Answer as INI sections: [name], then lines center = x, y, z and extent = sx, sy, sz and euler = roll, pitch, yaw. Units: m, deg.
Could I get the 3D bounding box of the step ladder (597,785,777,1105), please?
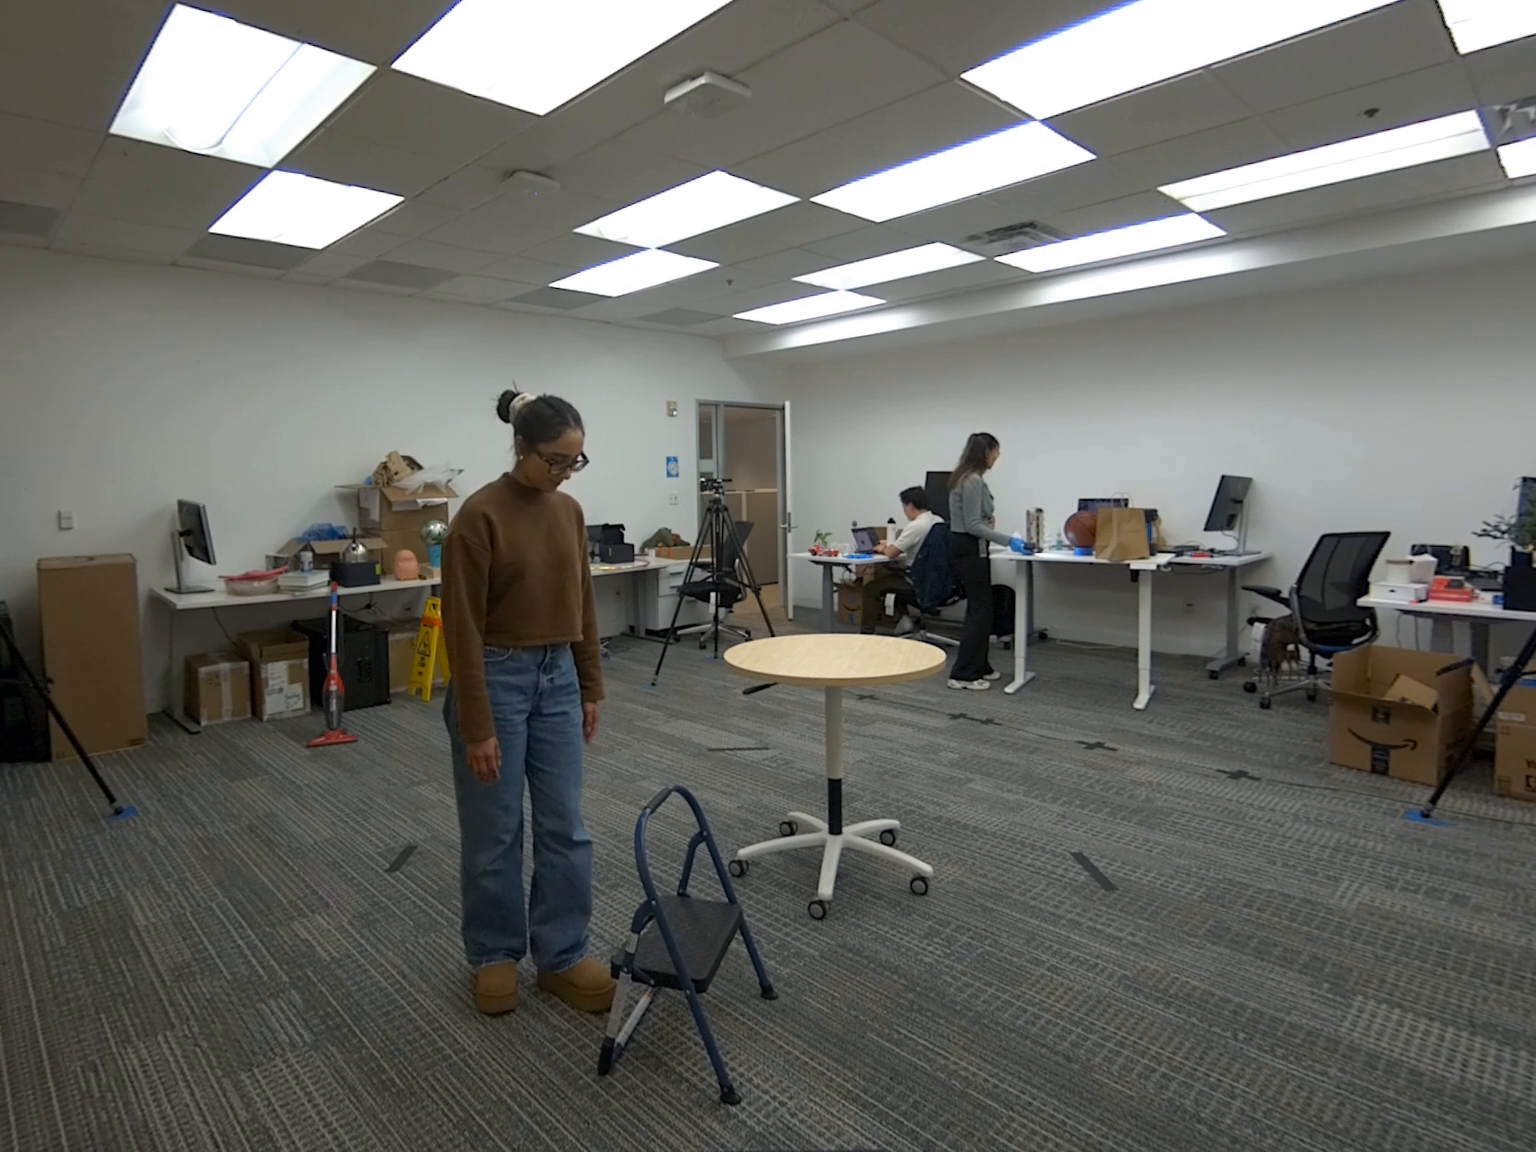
[step ladder]
center = -0.192, 0.859, 2.144
extent = 0.354, 0.604, 0.426
euler = 0, 5, 14
